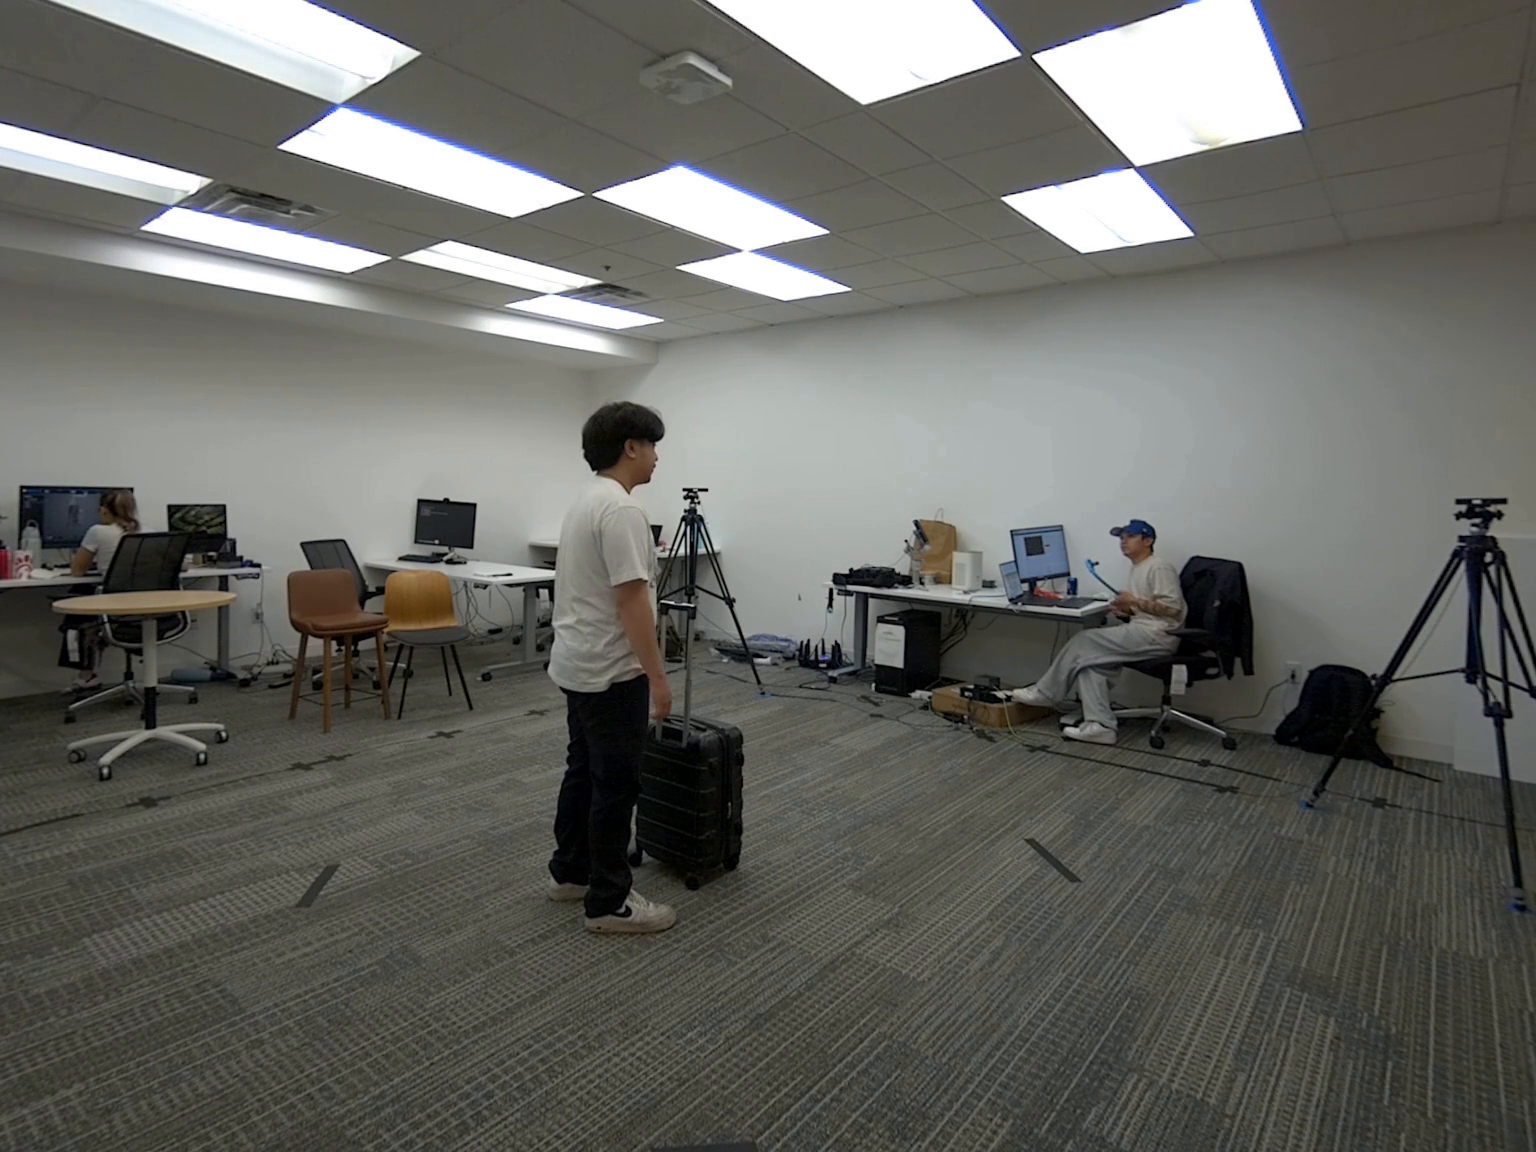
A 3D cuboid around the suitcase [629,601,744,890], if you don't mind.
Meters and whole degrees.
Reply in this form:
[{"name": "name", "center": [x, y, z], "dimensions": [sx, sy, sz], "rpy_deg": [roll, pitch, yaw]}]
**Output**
[{"name": "suitcase", "center": [-0.286, 0.589, 3.120], "dimensions": [0.397, 0.978, 0.249], "rpy_deg": [4, 1, 39]}]
